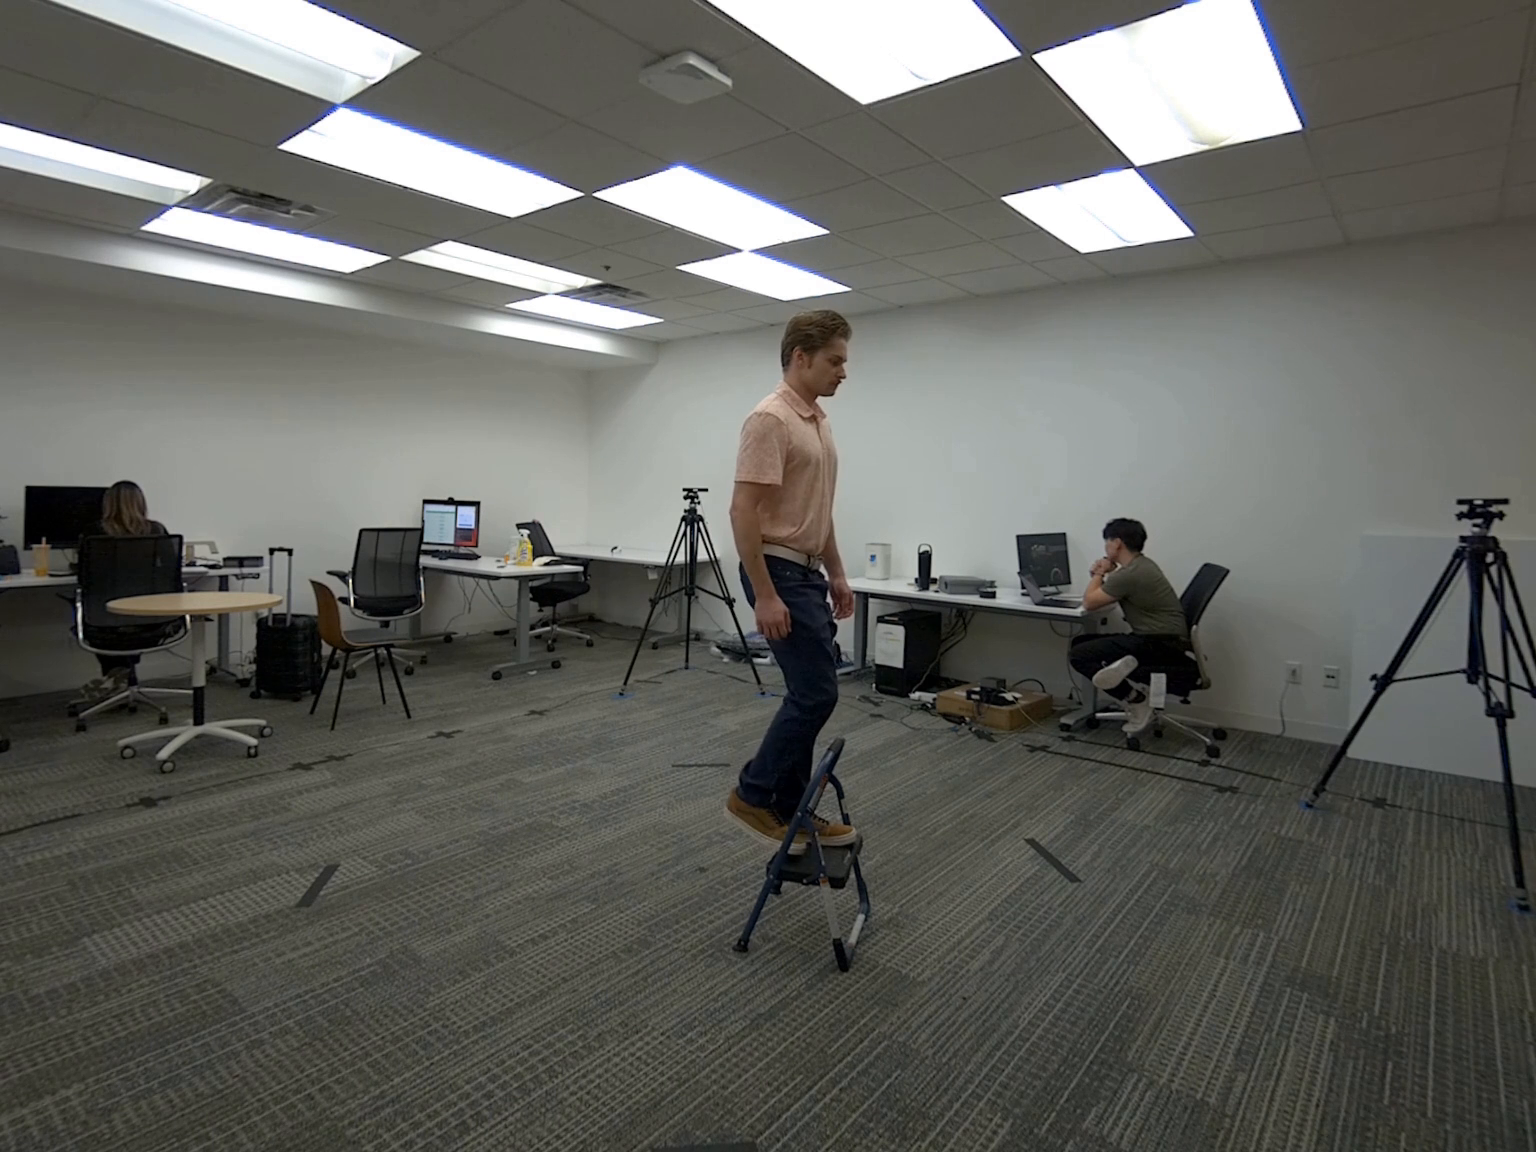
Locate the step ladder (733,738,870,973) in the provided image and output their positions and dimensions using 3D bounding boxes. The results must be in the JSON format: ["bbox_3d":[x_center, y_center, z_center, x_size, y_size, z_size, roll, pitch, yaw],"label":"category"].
[{"bbox_3d":[0.125,0.818,2.685,0.356,0.604,0.424,3,4,17],"label":"step ladder"}]
